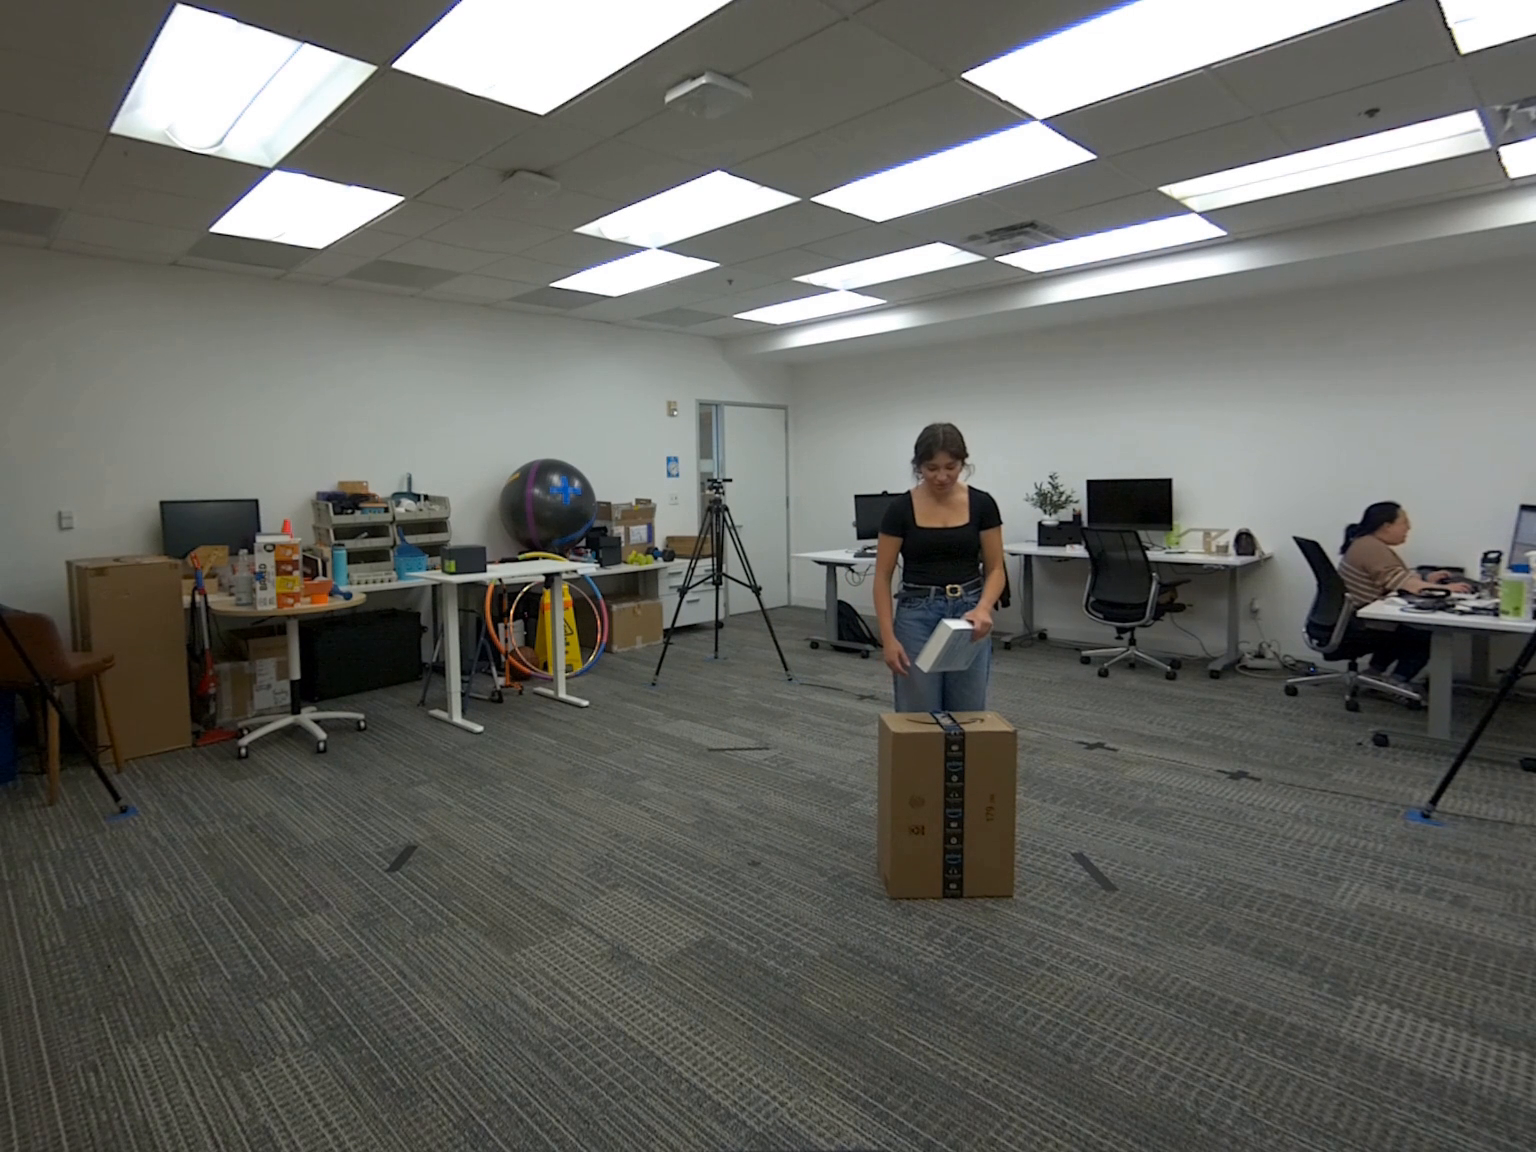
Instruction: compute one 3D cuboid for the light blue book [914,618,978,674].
[{"bbox_3d":[0.642,0.239,2.934,0.253,0.190,0.061,3,28,-46],"label":"light blue book"}]
